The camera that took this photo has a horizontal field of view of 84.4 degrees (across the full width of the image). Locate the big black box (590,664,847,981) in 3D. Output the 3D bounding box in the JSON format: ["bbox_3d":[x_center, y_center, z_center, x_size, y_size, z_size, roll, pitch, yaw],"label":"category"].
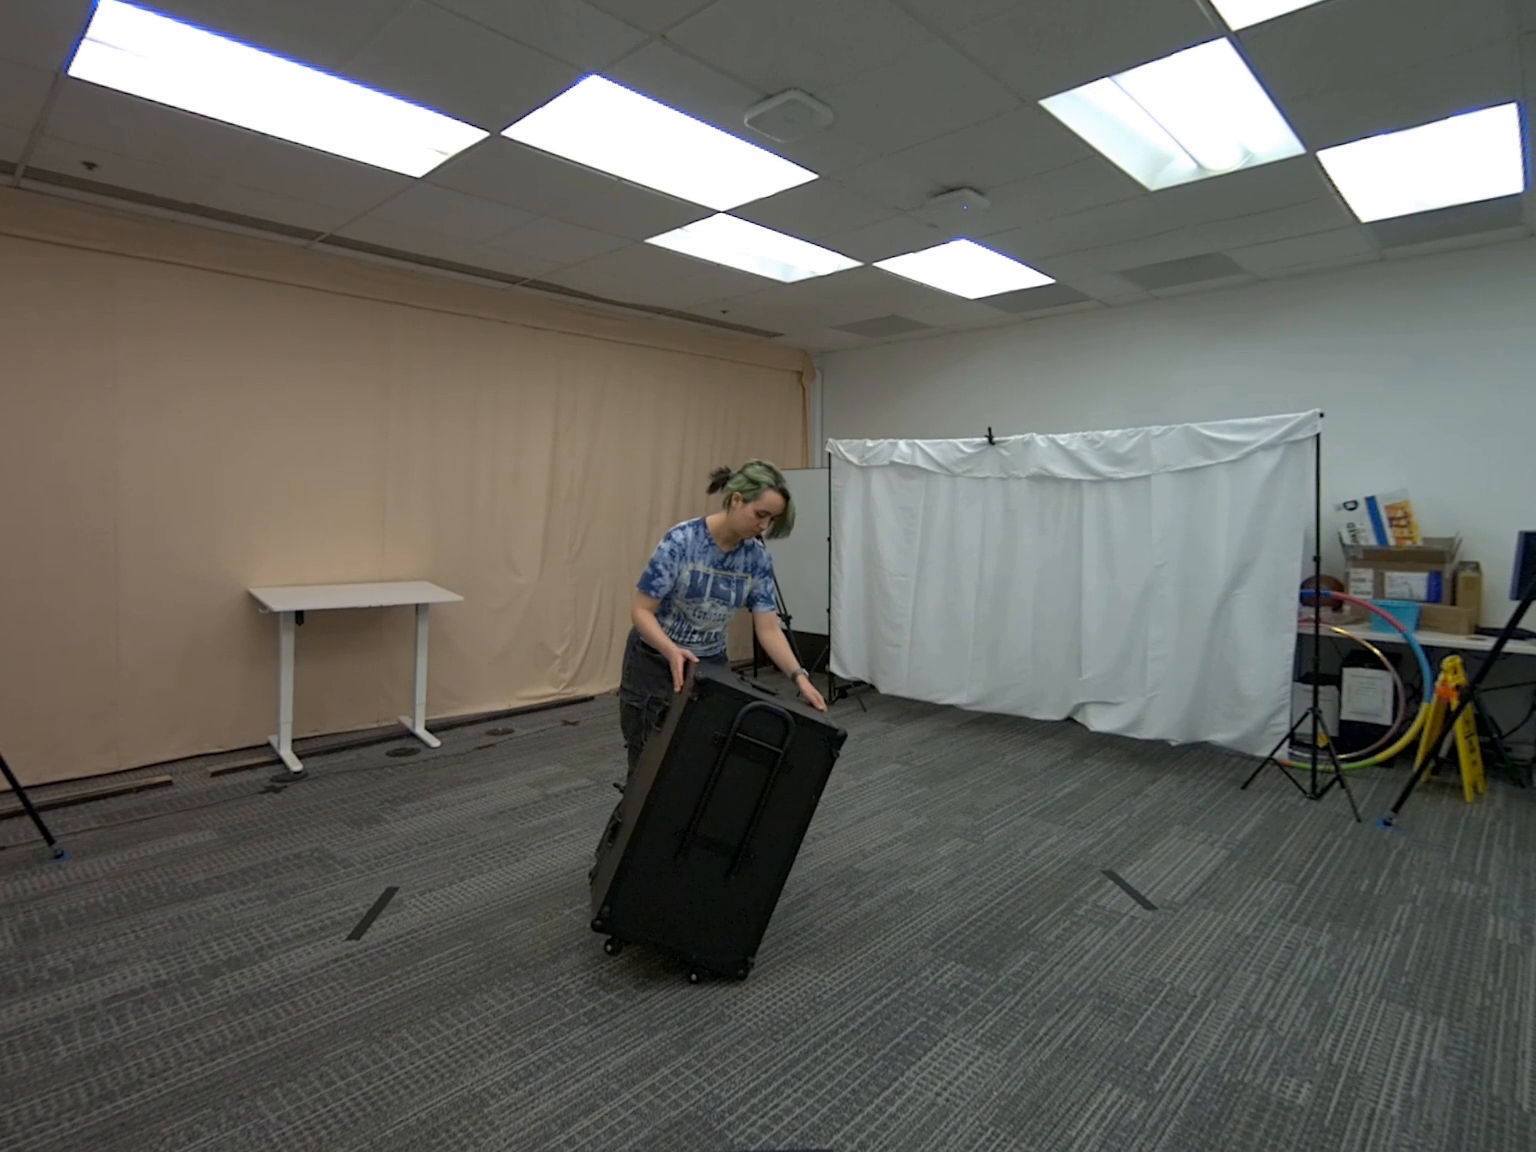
[{"bbox_3d":[-0.172,0.746,2.567,0.514,0.861,0.402,23,1,-11],"label":"big black box"}]
